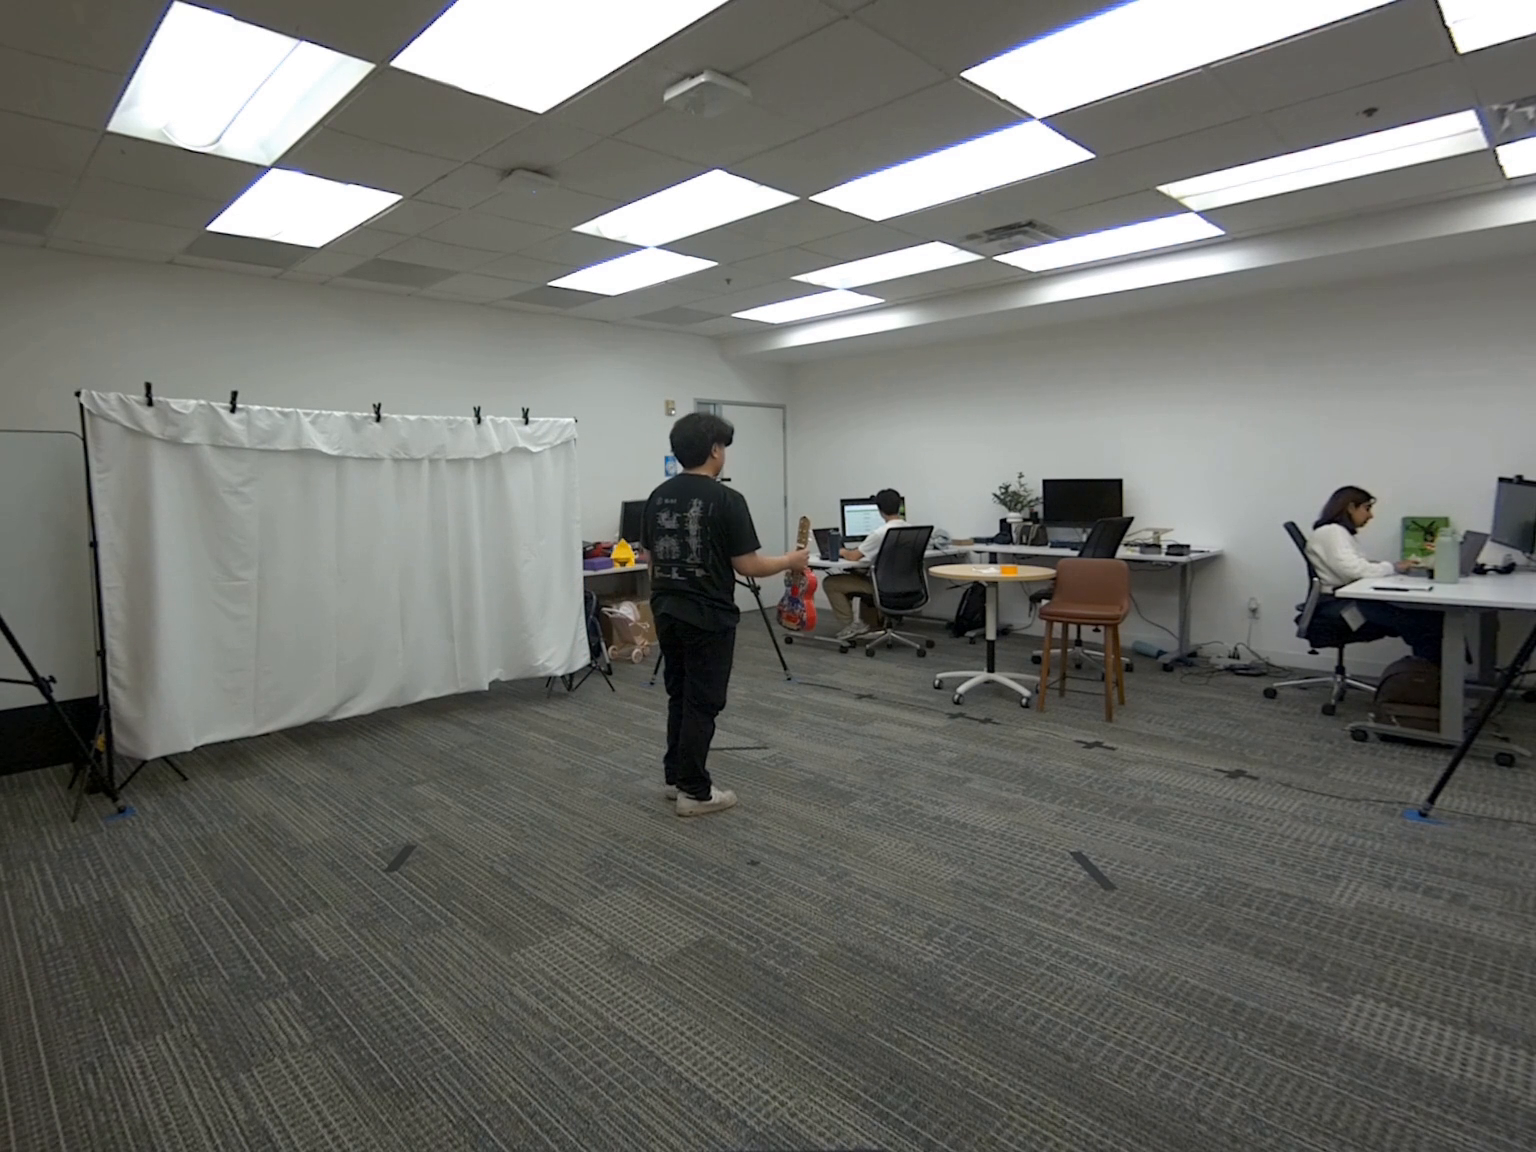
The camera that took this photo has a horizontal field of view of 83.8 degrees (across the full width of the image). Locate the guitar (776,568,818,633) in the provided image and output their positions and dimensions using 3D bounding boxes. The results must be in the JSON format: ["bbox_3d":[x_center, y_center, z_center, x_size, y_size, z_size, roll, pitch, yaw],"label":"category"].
[{"bbox_3d":[0.156,0.003,3.678,0.068,0.494,0.200,3,15,-42],"label":"guitar"}]
